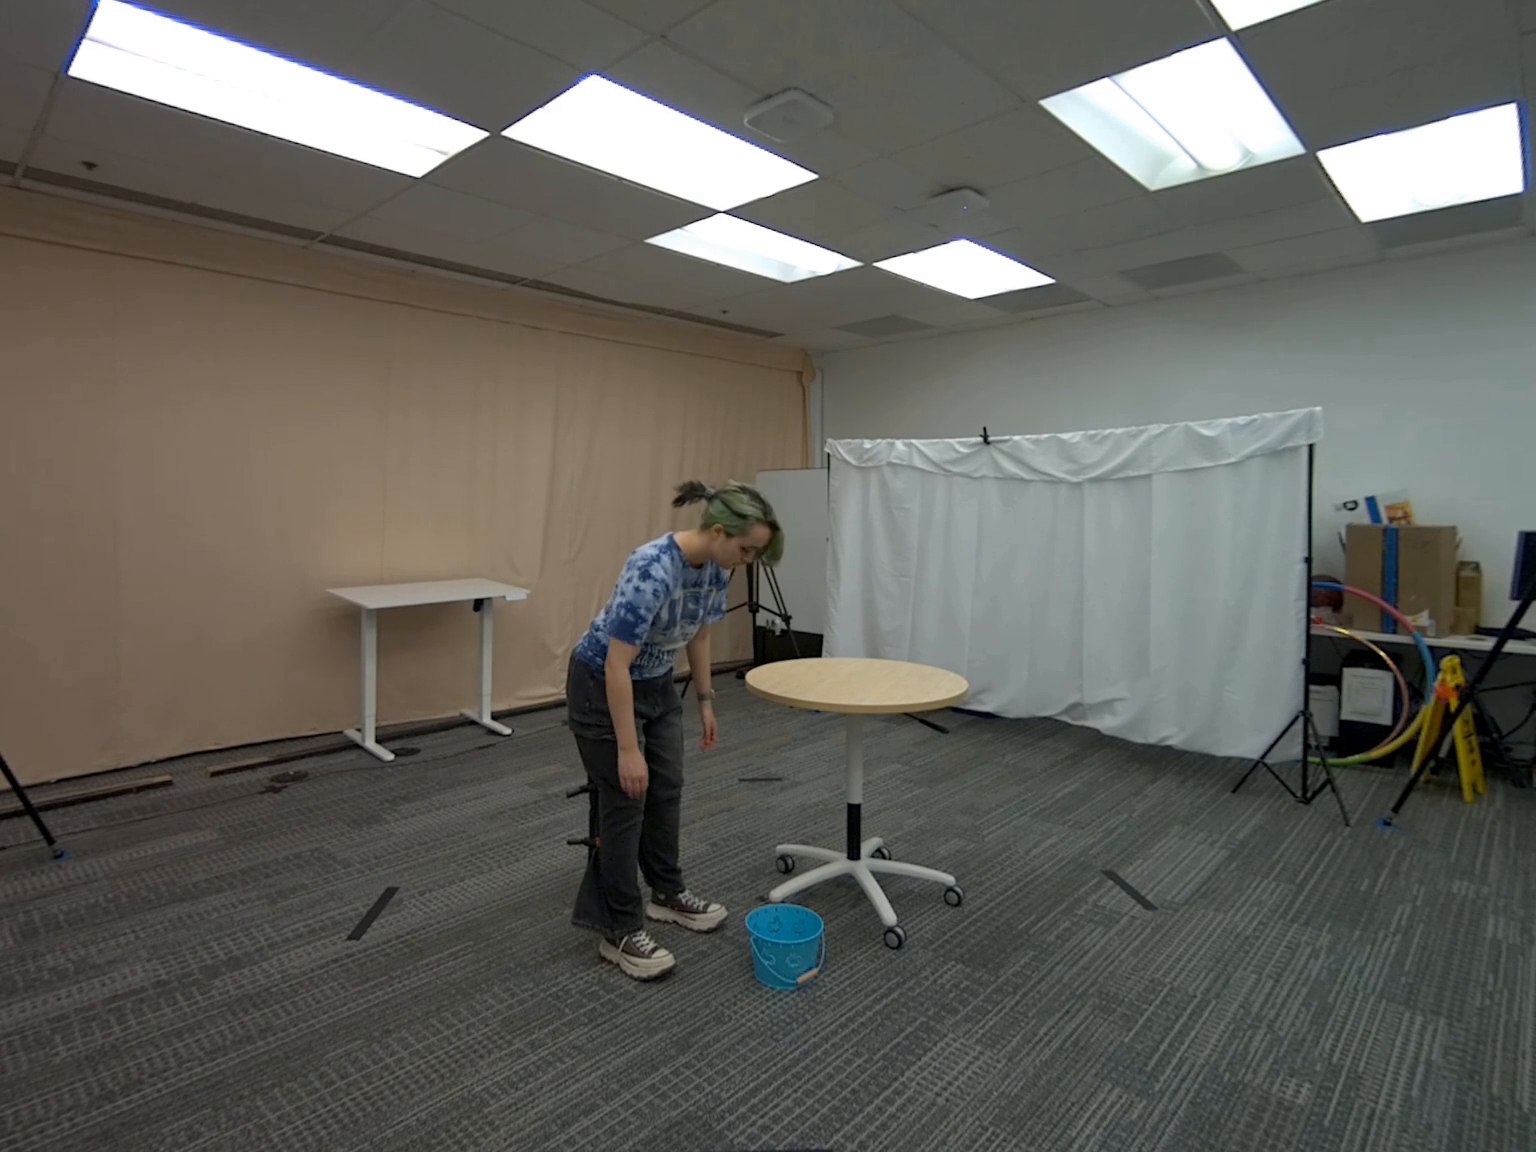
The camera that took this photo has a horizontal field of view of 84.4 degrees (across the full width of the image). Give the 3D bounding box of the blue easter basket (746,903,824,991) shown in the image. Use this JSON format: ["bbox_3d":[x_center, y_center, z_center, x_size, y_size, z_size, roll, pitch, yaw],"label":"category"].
[{"bbox_3d":[0.051,1.109,2.499,0.243,0.155,0.244,-1,4,-2],"label":"blue easter basket"}]
